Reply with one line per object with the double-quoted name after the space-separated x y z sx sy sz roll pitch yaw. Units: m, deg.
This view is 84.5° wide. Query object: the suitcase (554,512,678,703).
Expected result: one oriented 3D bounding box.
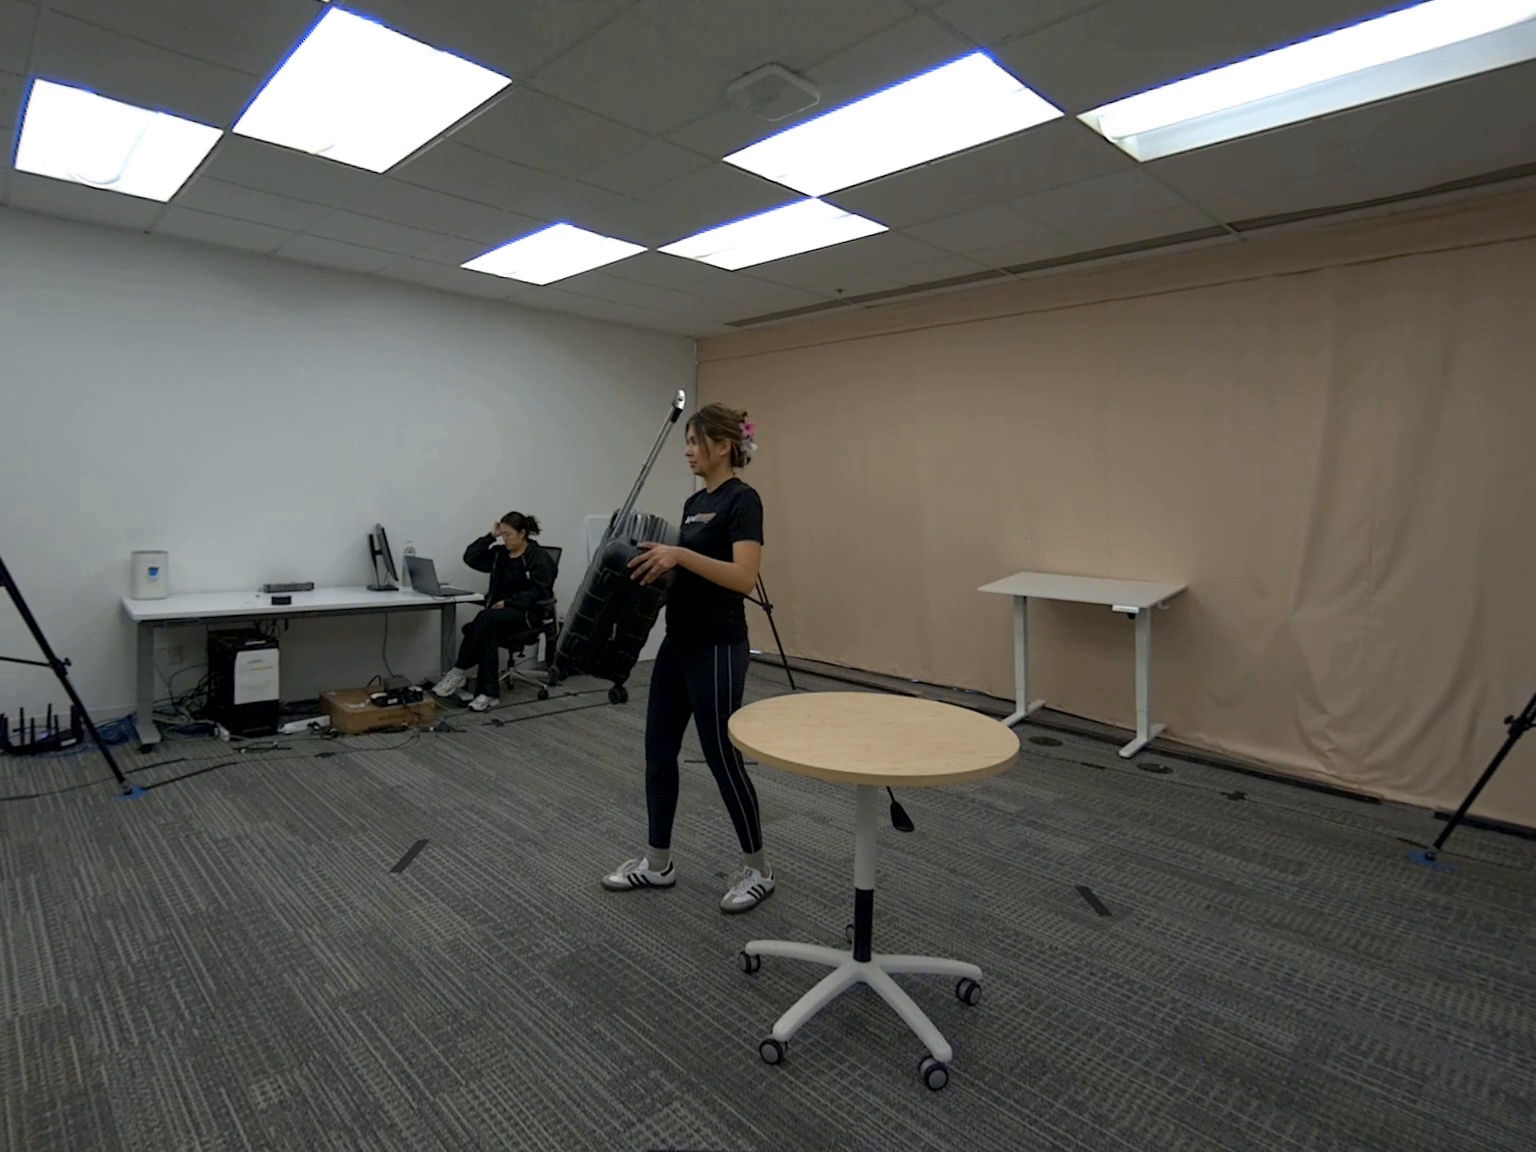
-0.399 -0.095 2.679 0.254 0.973 0.391 24 25 -13 "suitcase"
